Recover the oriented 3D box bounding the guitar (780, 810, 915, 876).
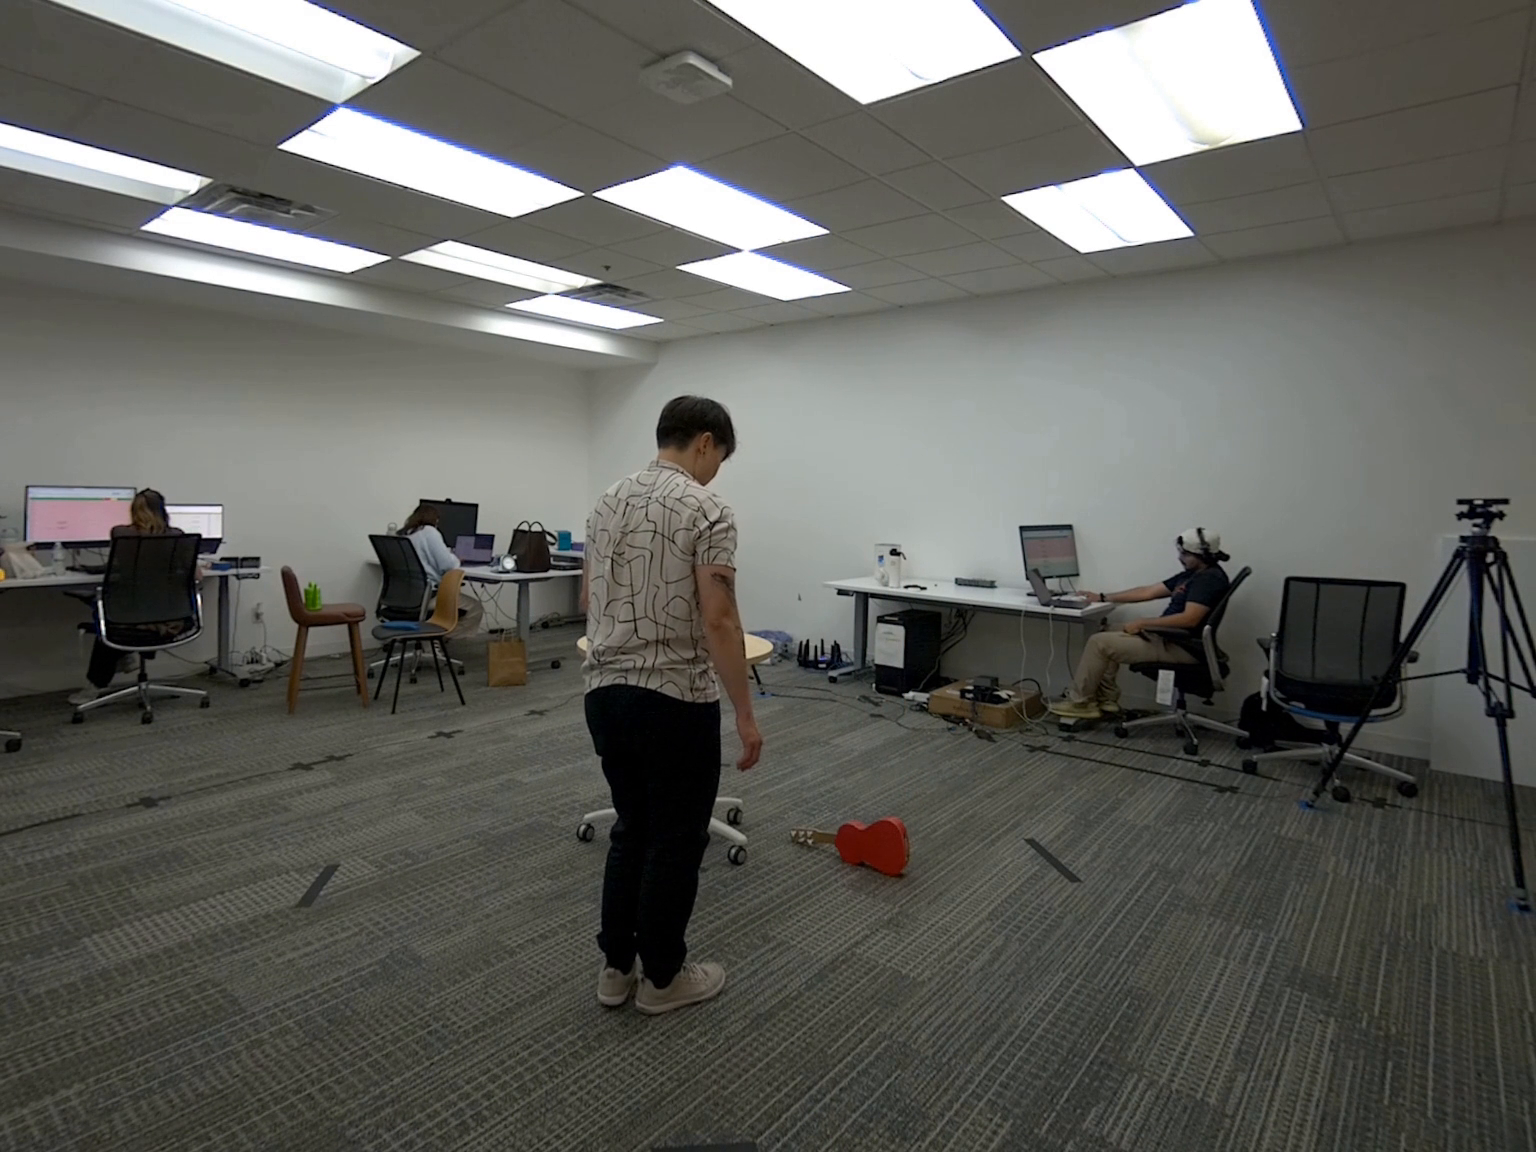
[{"bbox_3d":[0.291,1.022,3.214,0.508,0.195,0.068,-16,-11,32],"label":"guitar"}]
